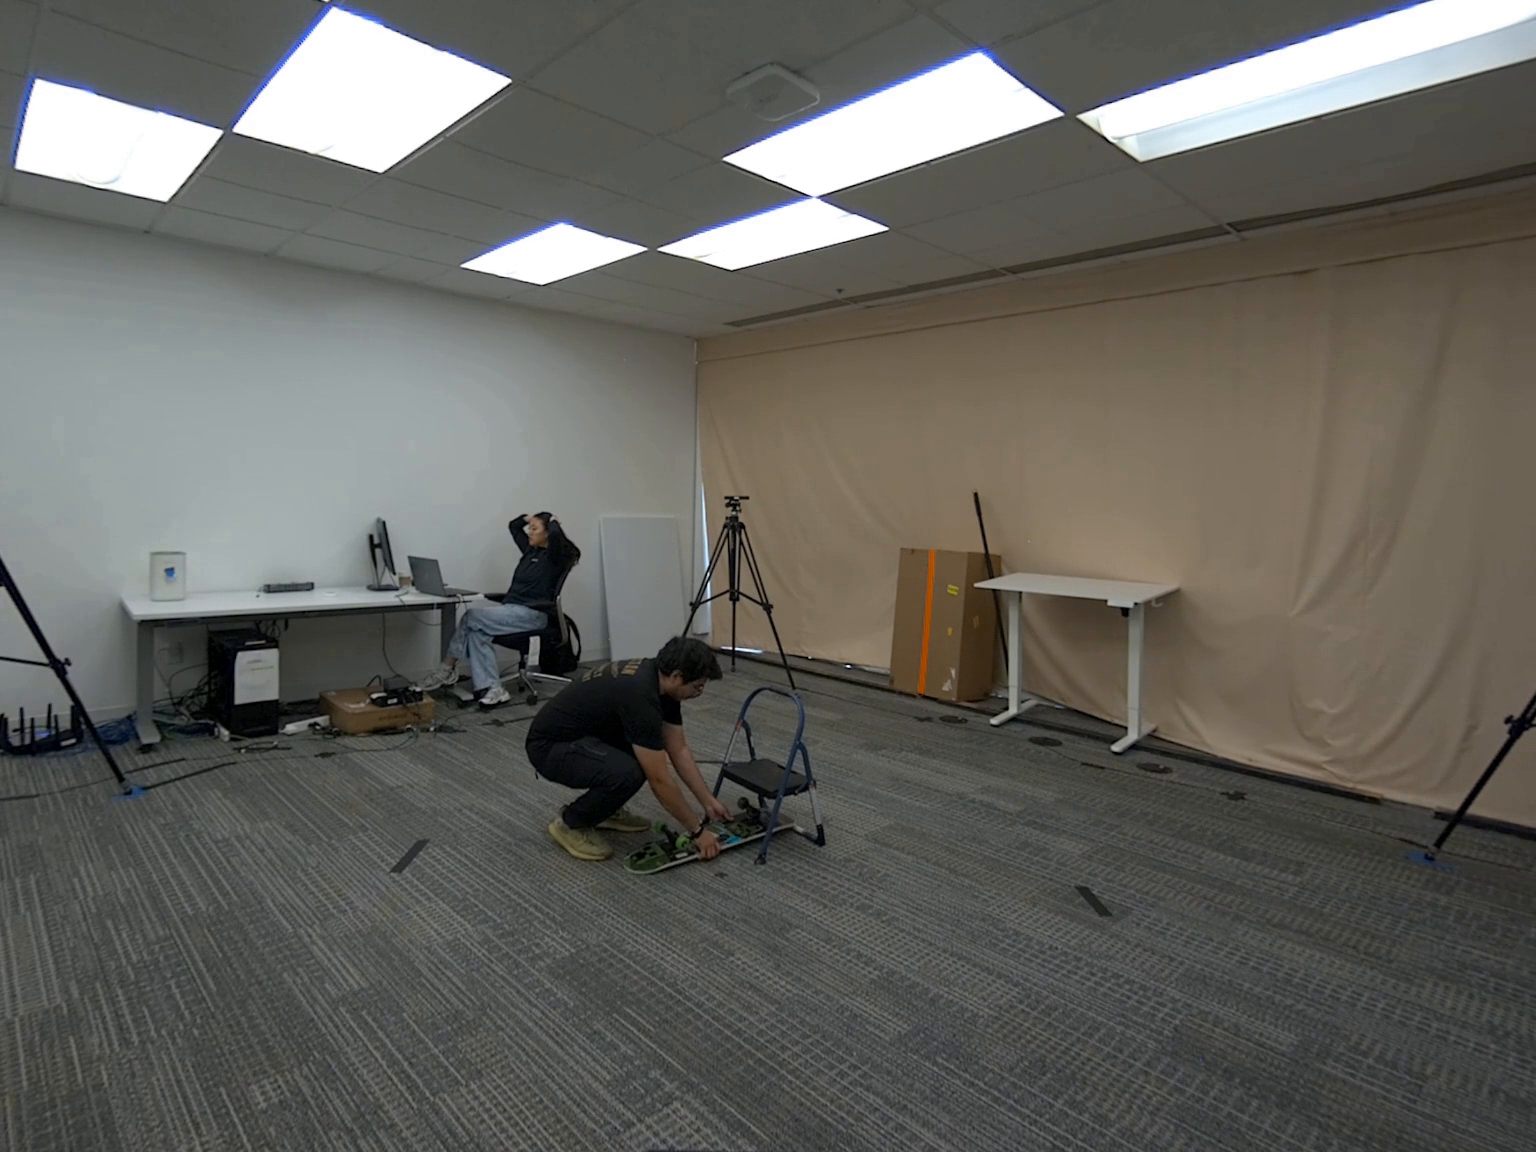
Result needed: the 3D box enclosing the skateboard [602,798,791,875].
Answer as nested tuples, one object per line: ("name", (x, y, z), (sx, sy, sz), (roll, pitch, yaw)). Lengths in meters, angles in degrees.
("skateboard", (-0.228, 1.016, 3.353), (0.769, 0.109, 0.199), (-5, 15, -37))
